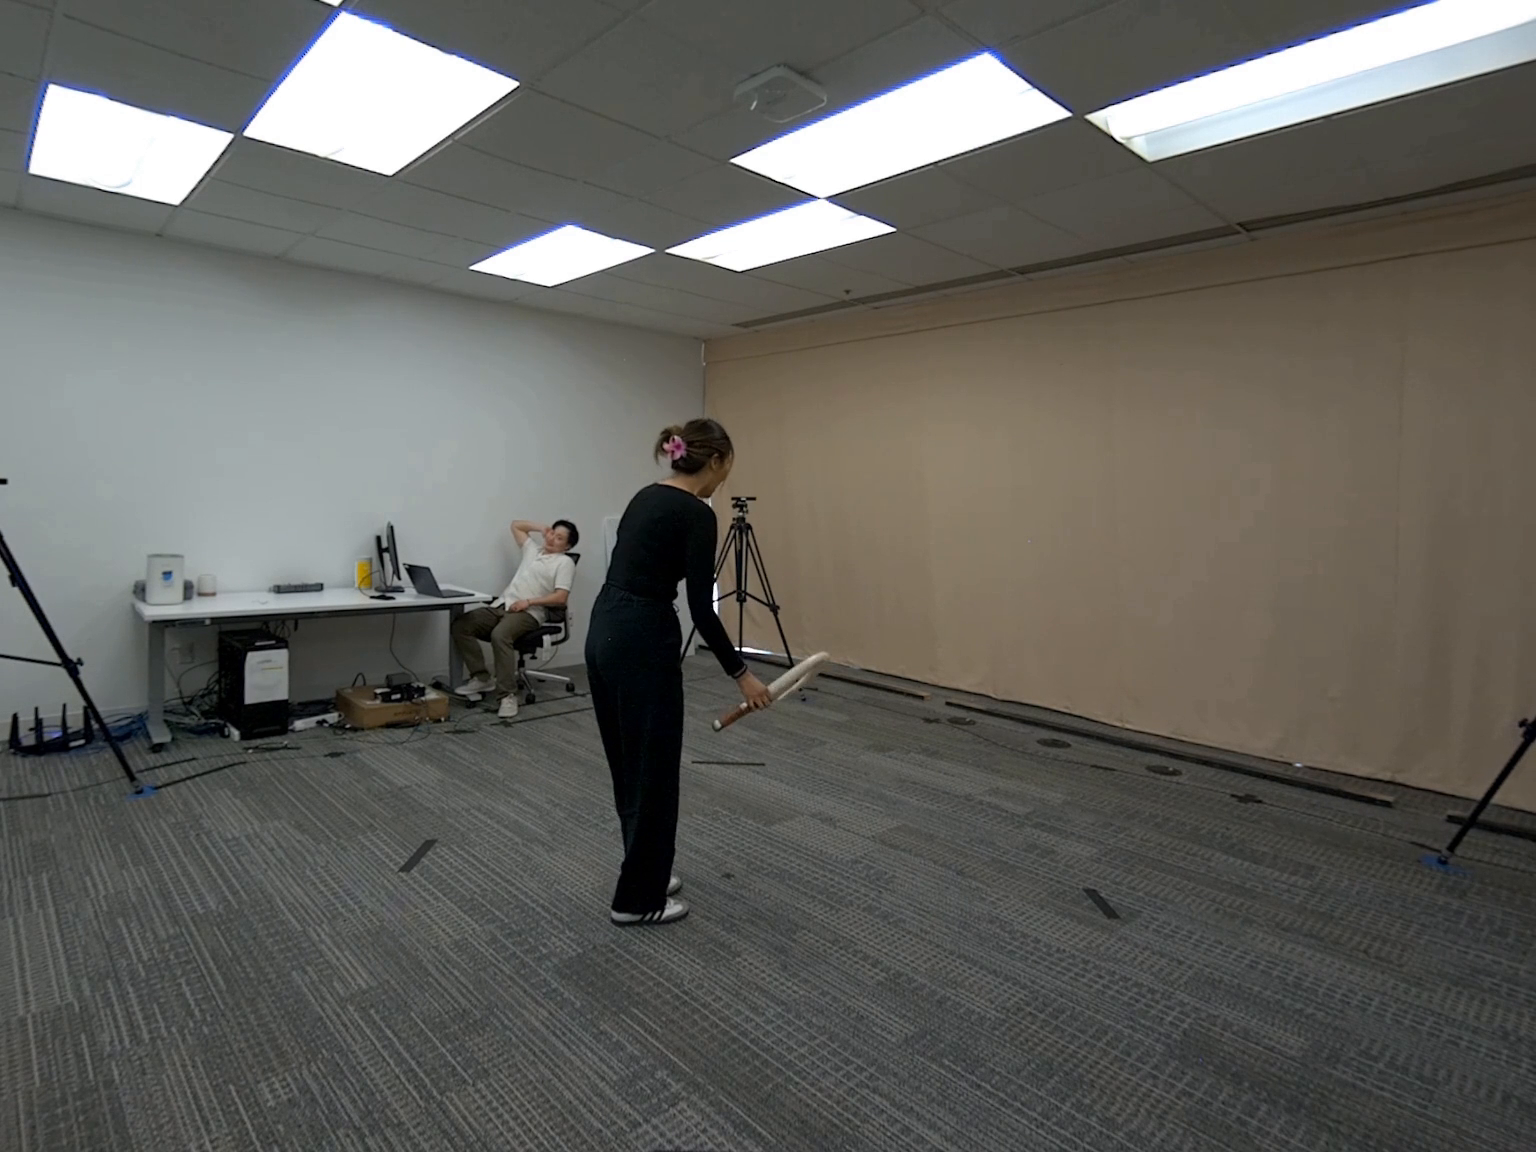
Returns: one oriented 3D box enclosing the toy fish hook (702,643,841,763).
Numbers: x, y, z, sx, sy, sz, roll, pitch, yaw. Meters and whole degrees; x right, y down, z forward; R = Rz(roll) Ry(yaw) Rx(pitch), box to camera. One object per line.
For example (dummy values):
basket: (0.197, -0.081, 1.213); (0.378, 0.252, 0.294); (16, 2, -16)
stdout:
toy fish hook: (0.011, 0.411, 2.780); (0.502, 0.221, 0.049); (-28, 62, -31)
